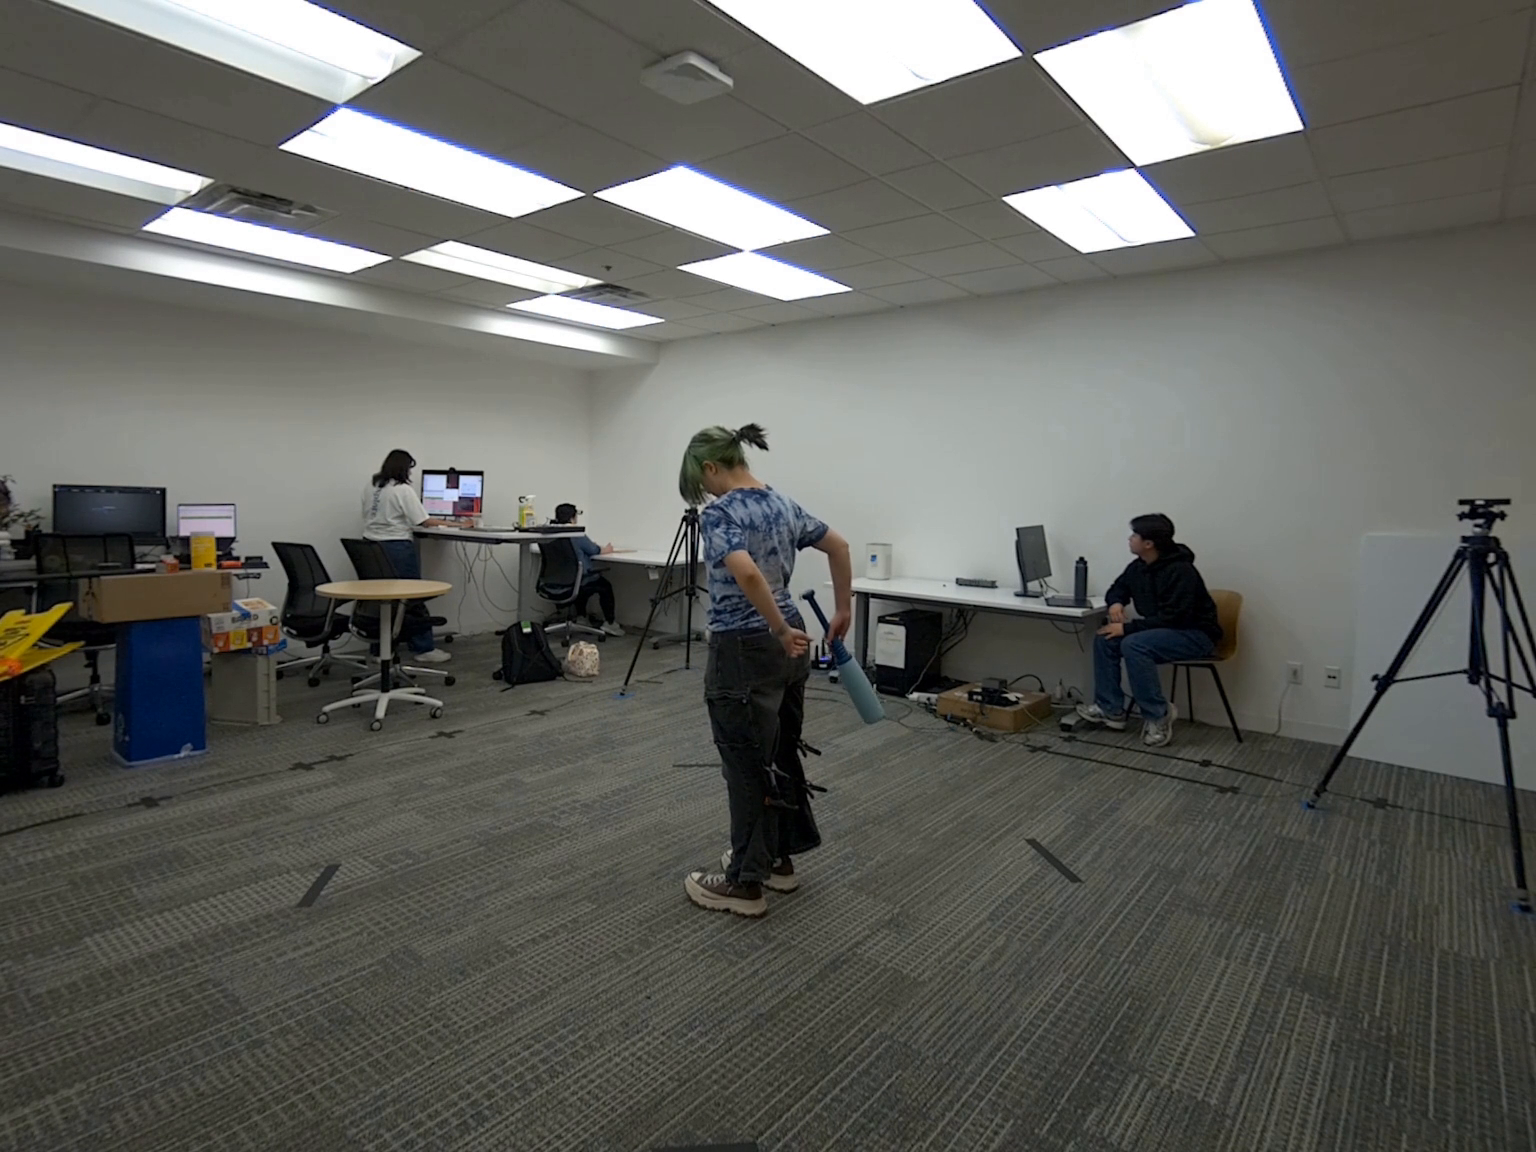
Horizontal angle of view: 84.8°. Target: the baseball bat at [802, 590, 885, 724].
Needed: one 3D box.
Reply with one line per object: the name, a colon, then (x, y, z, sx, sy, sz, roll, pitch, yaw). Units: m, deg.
baseball bat: (0.239, 0.293, 3.080, 0.089, 0.538, 0.089, -29, 6, 2)
